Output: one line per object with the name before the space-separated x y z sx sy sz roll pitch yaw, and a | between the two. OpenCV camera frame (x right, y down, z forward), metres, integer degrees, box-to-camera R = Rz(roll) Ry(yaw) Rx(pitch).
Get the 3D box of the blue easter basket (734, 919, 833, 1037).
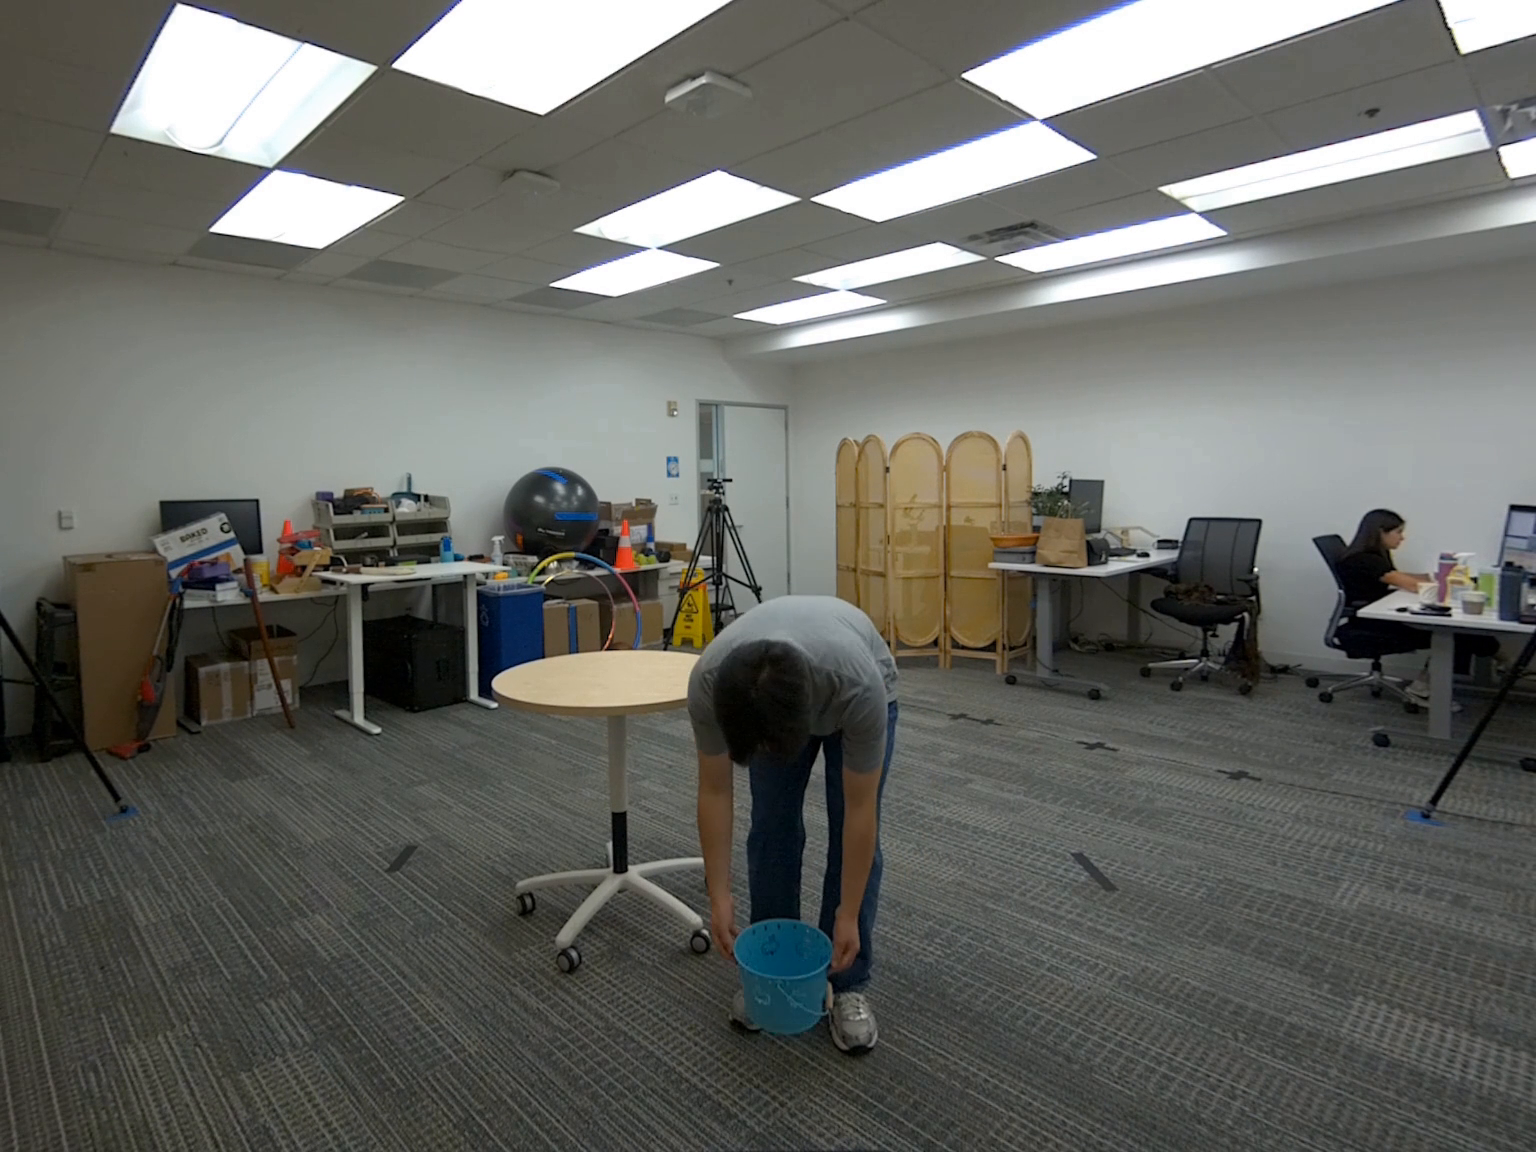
blue easter basket | 0.046 0.938 2.012 0.243 0.155 0.245 -1 7 -2
